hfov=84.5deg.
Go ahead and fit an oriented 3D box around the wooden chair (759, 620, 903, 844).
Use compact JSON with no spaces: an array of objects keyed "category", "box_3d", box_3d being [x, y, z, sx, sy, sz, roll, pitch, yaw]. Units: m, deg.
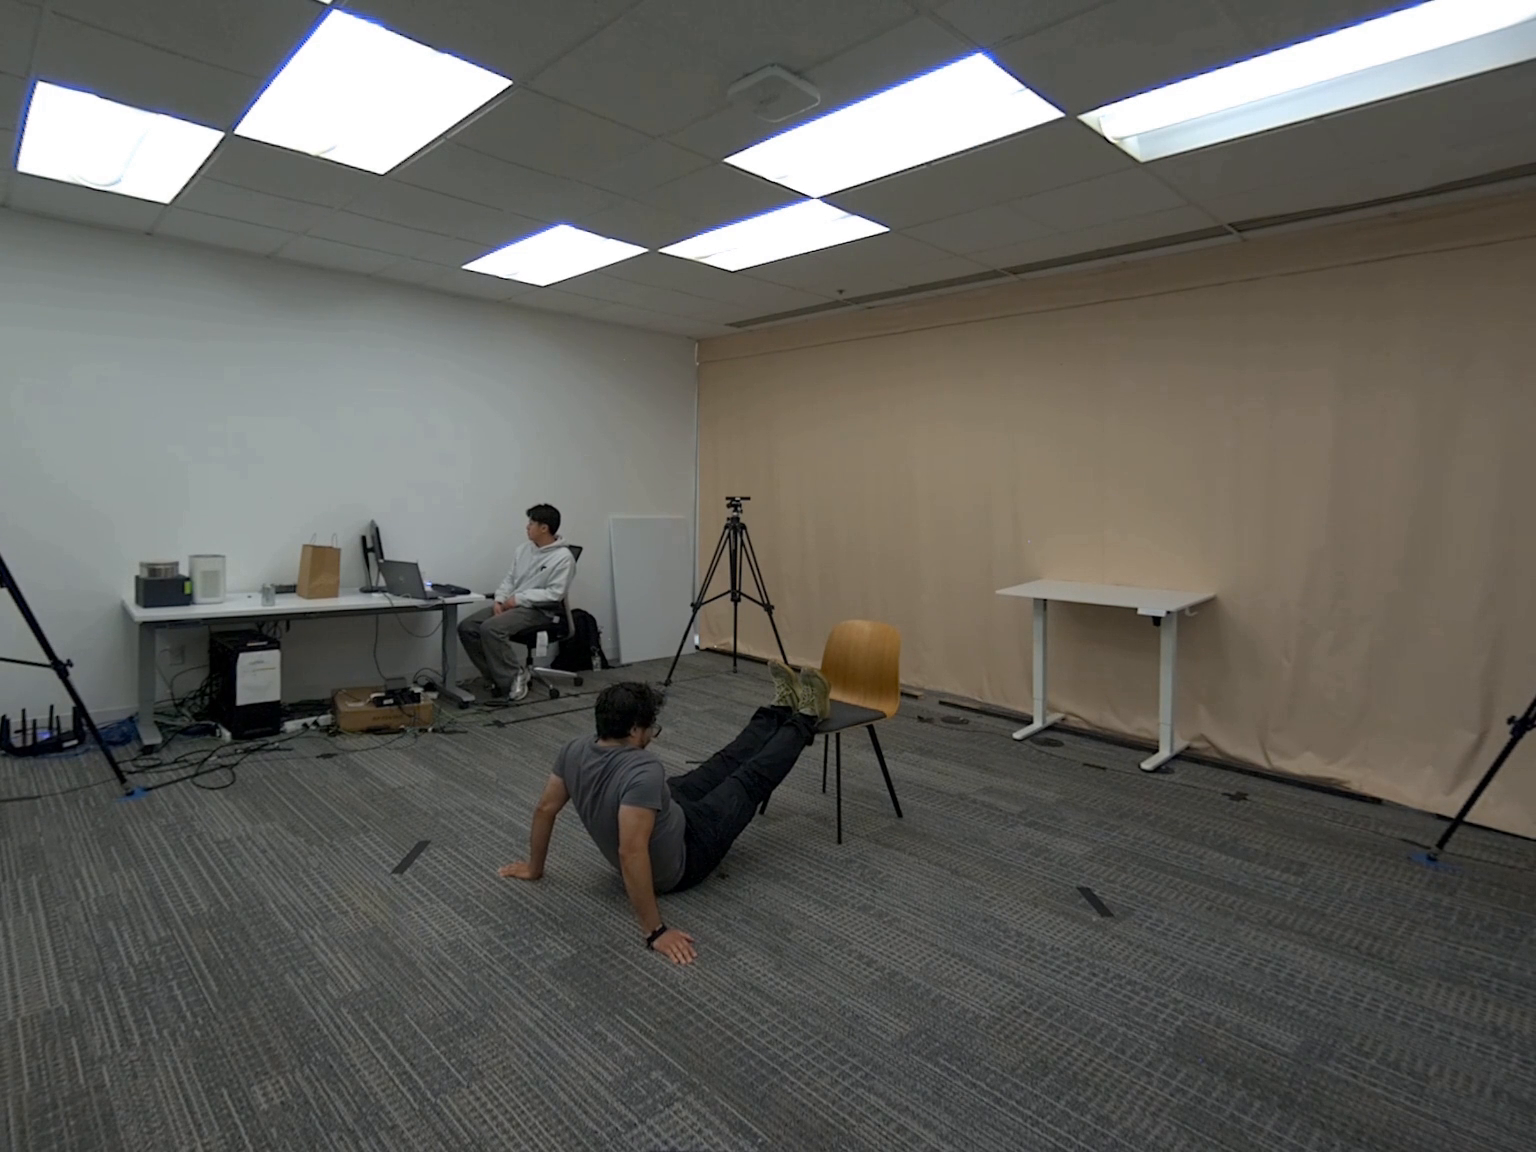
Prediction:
[{"category":"wooden chair","box_3d":[0.275,0.640,3.702,0.490,0.877,0.510,4,0,44]}]
